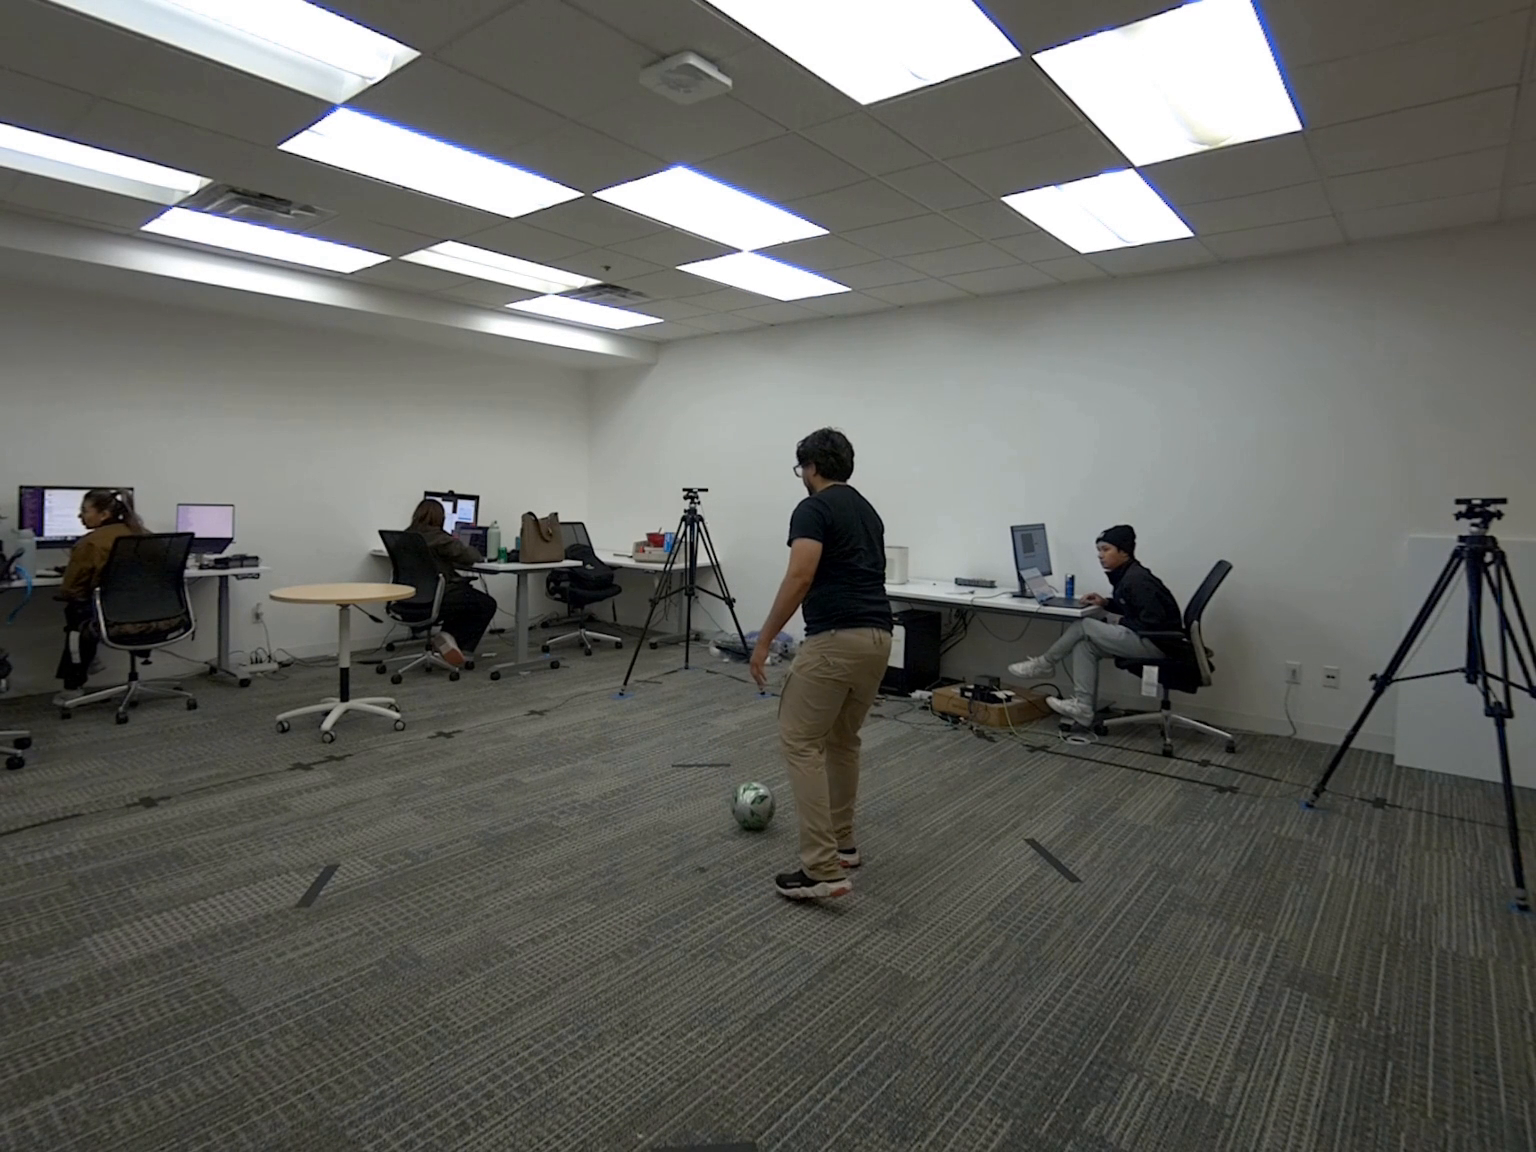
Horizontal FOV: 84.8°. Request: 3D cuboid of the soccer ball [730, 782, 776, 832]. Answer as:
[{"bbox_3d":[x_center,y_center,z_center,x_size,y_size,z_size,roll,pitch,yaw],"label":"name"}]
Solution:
[{"bbox_3d":[-0.074,0.943,3.509,0.187,0.187,0.188,1,4,-2],"label":"soccer ball"}]
